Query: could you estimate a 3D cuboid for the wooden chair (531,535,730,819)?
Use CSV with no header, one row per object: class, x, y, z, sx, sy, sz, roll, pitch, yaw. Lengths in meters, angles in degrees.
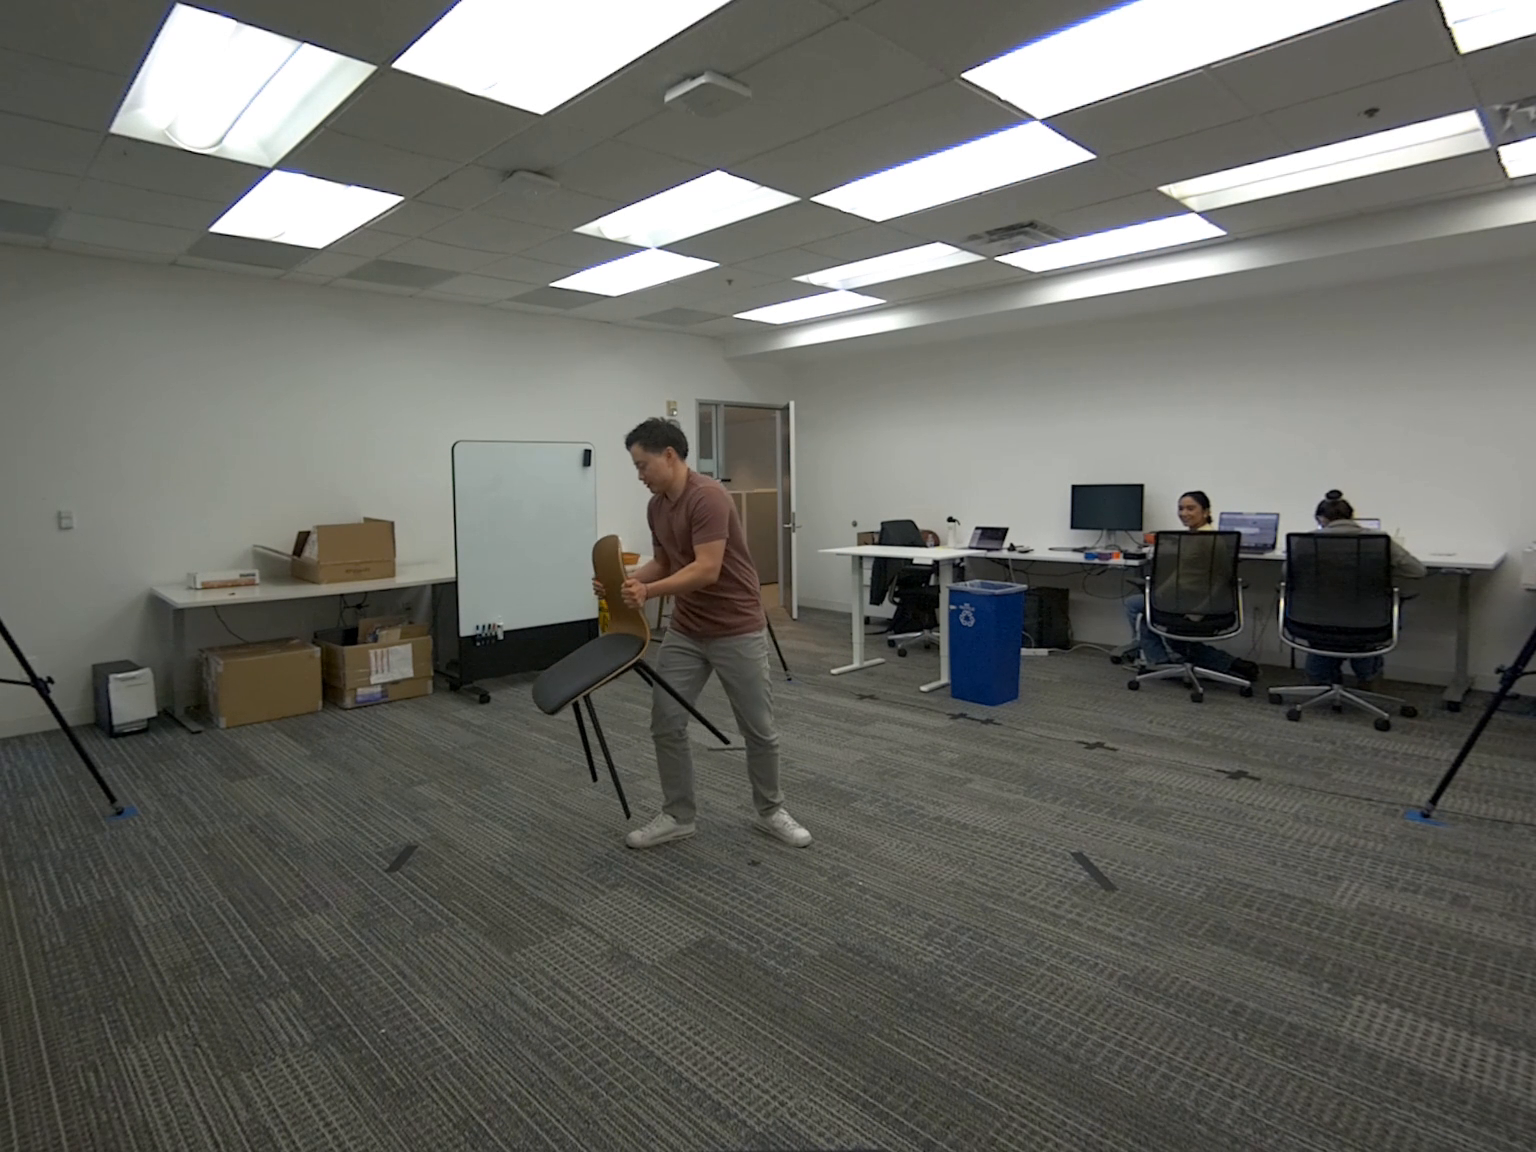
wooden chair,-0.606,0.356,3.137,0.518,0.864,0.490,-28,14,-22
